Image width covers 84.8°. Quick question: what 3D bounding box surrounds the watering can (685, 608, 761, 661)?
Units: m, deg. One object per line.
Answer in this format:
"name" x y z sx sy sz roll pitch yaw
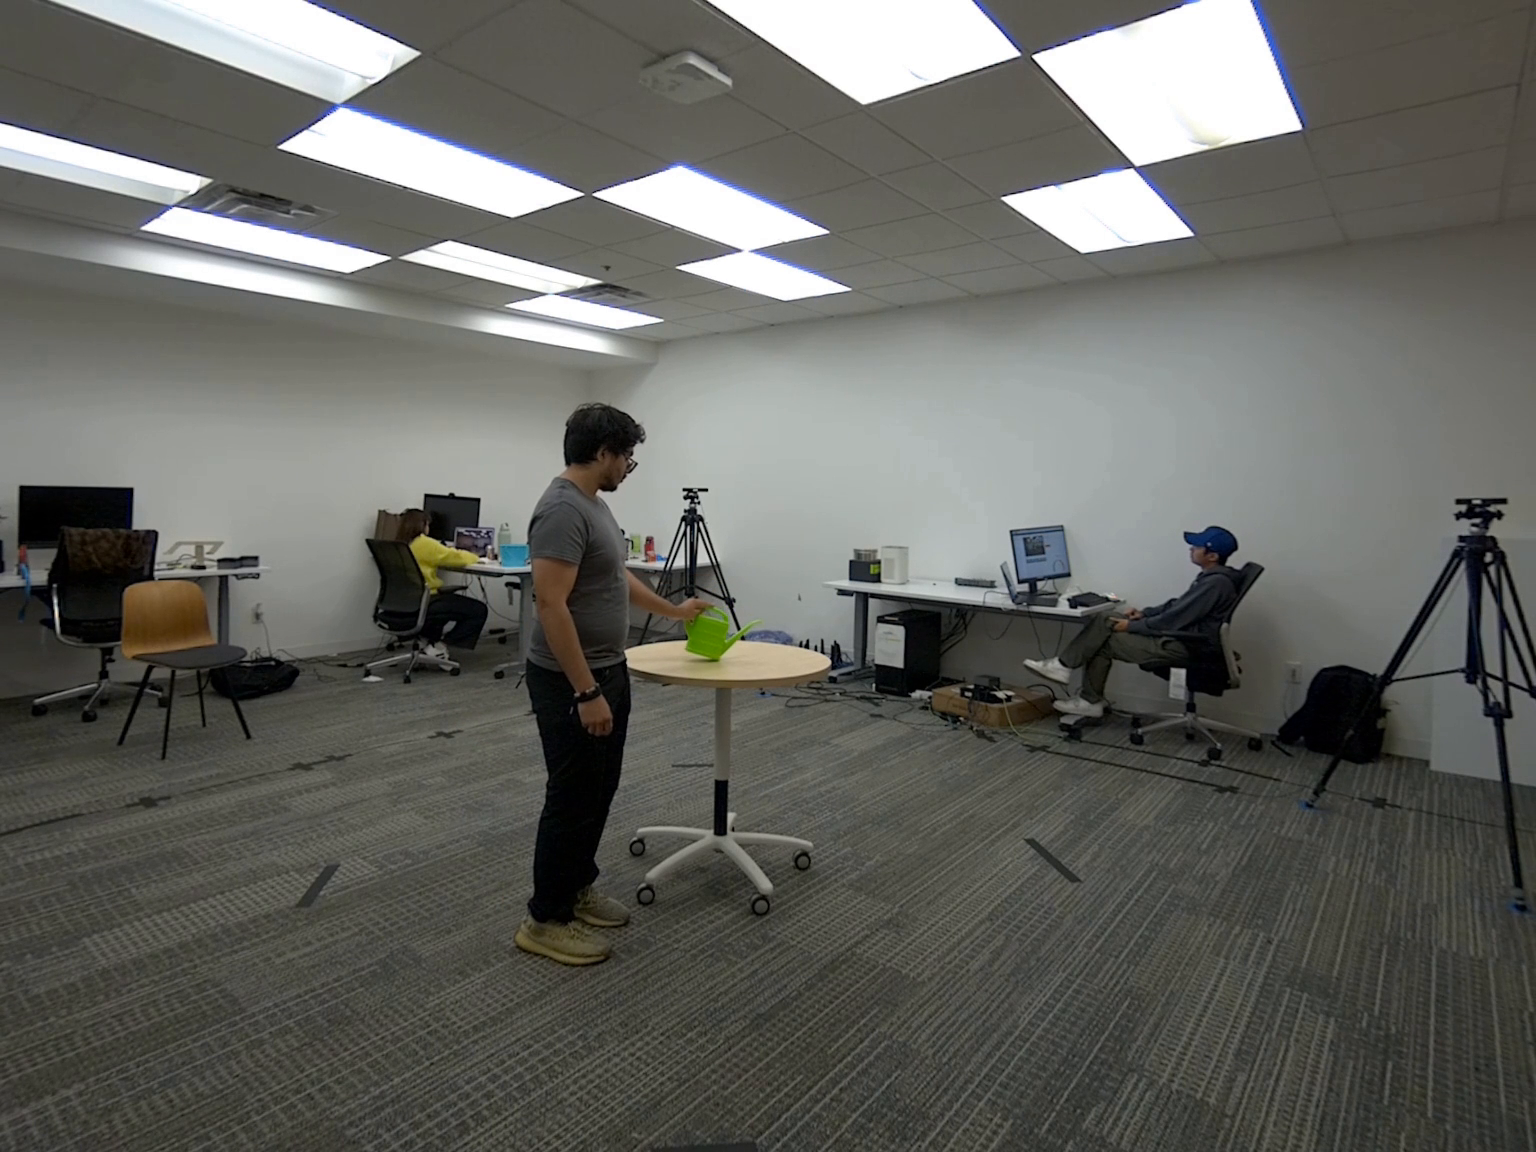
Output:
"watering can" -0.172 0.203 3.010 0.278 0.177 0.098 13 -5 -1
